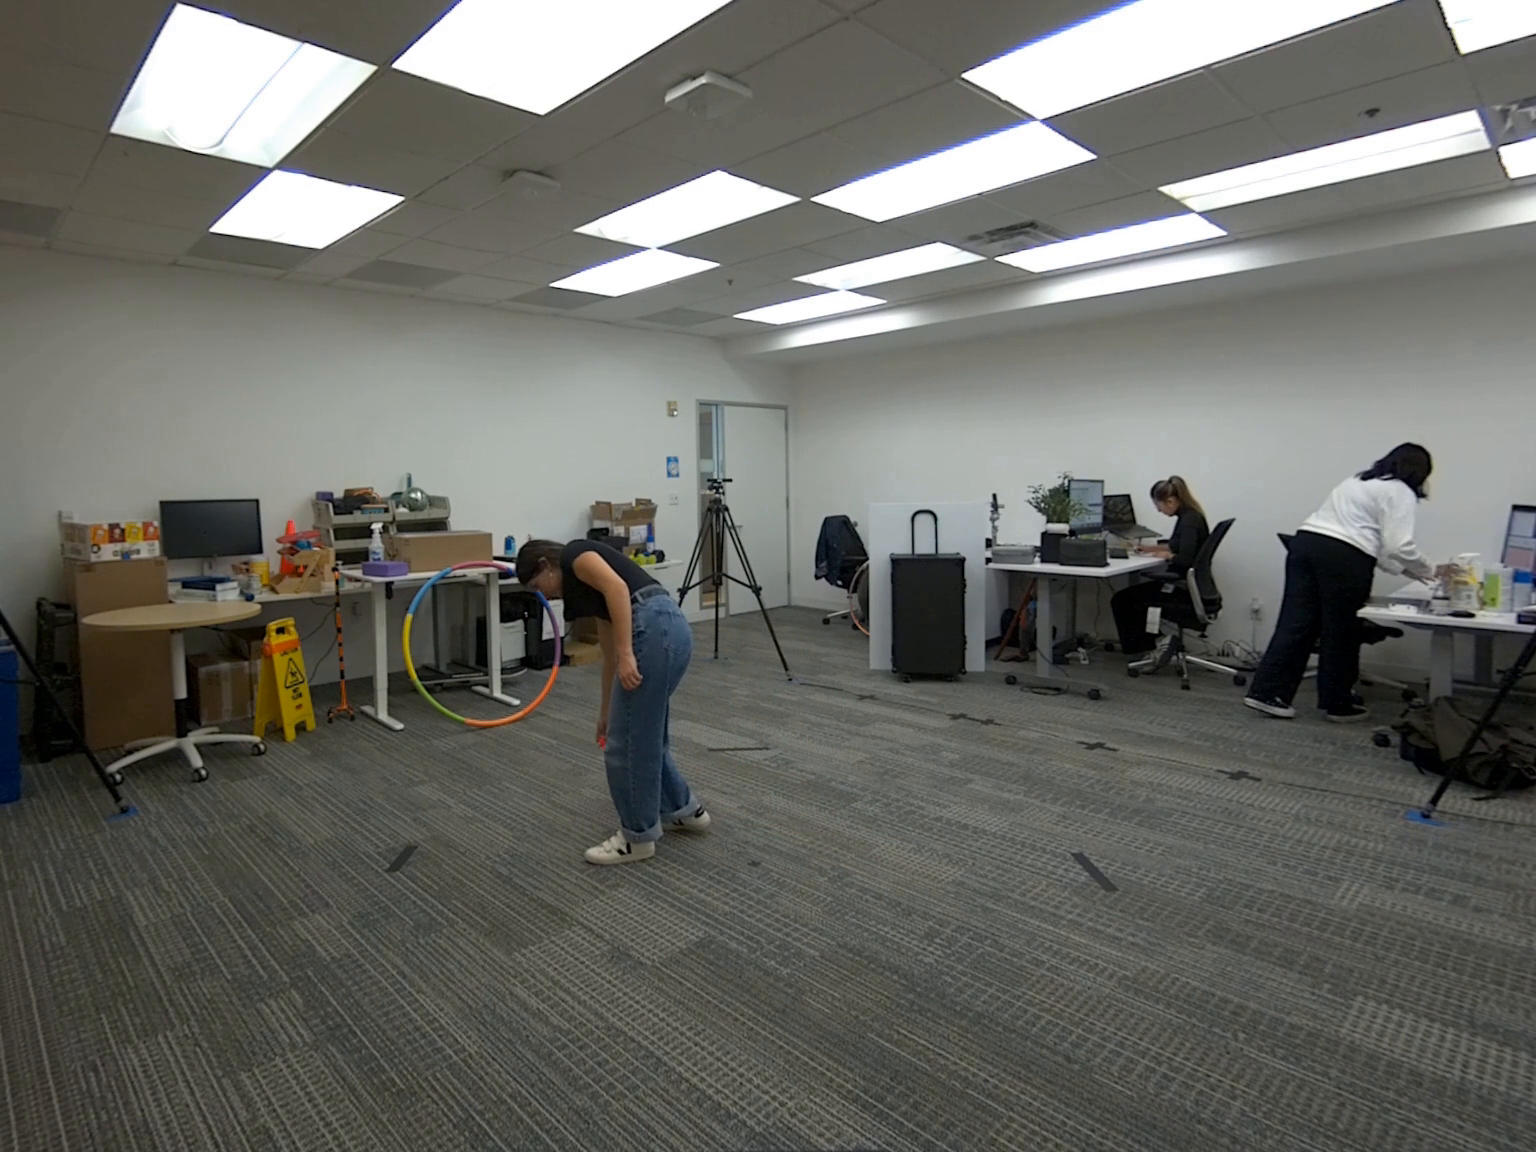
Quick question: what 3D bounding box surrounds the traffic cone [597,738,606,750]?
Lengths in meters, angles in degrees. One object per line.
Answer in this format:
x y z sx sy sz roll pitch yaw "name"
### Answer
-0.599 0.798 3.599 0.204 0.370 0.211 -44 42 -19 "traffic cone"
